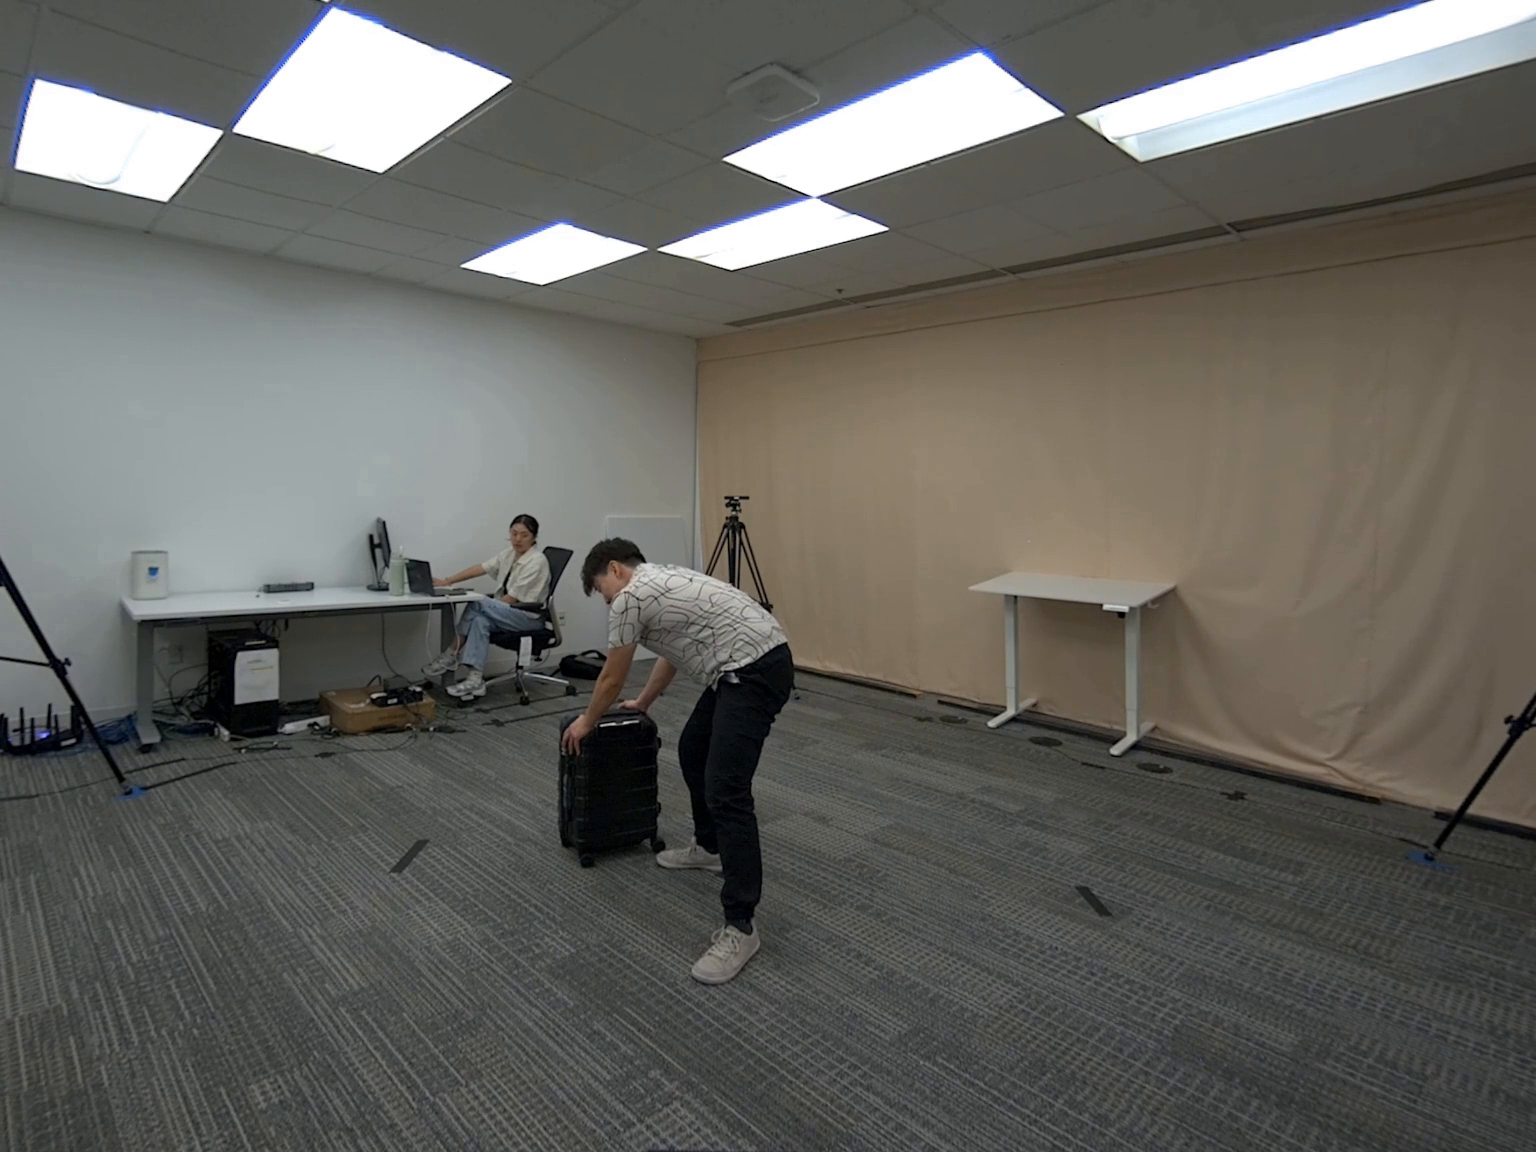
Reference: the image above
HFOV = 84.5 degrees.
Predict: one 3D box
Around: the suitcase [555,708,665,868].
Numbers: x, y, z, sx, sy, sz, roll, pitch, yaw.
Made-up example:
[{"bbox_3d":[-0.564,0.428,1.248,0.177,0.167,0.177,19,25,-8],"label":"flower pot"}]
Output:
[{"bbox_3d":[-0.636,0.802,3.295,0.368,0.548,0.254,-3,5,-29],"label":"suitcase"}]
